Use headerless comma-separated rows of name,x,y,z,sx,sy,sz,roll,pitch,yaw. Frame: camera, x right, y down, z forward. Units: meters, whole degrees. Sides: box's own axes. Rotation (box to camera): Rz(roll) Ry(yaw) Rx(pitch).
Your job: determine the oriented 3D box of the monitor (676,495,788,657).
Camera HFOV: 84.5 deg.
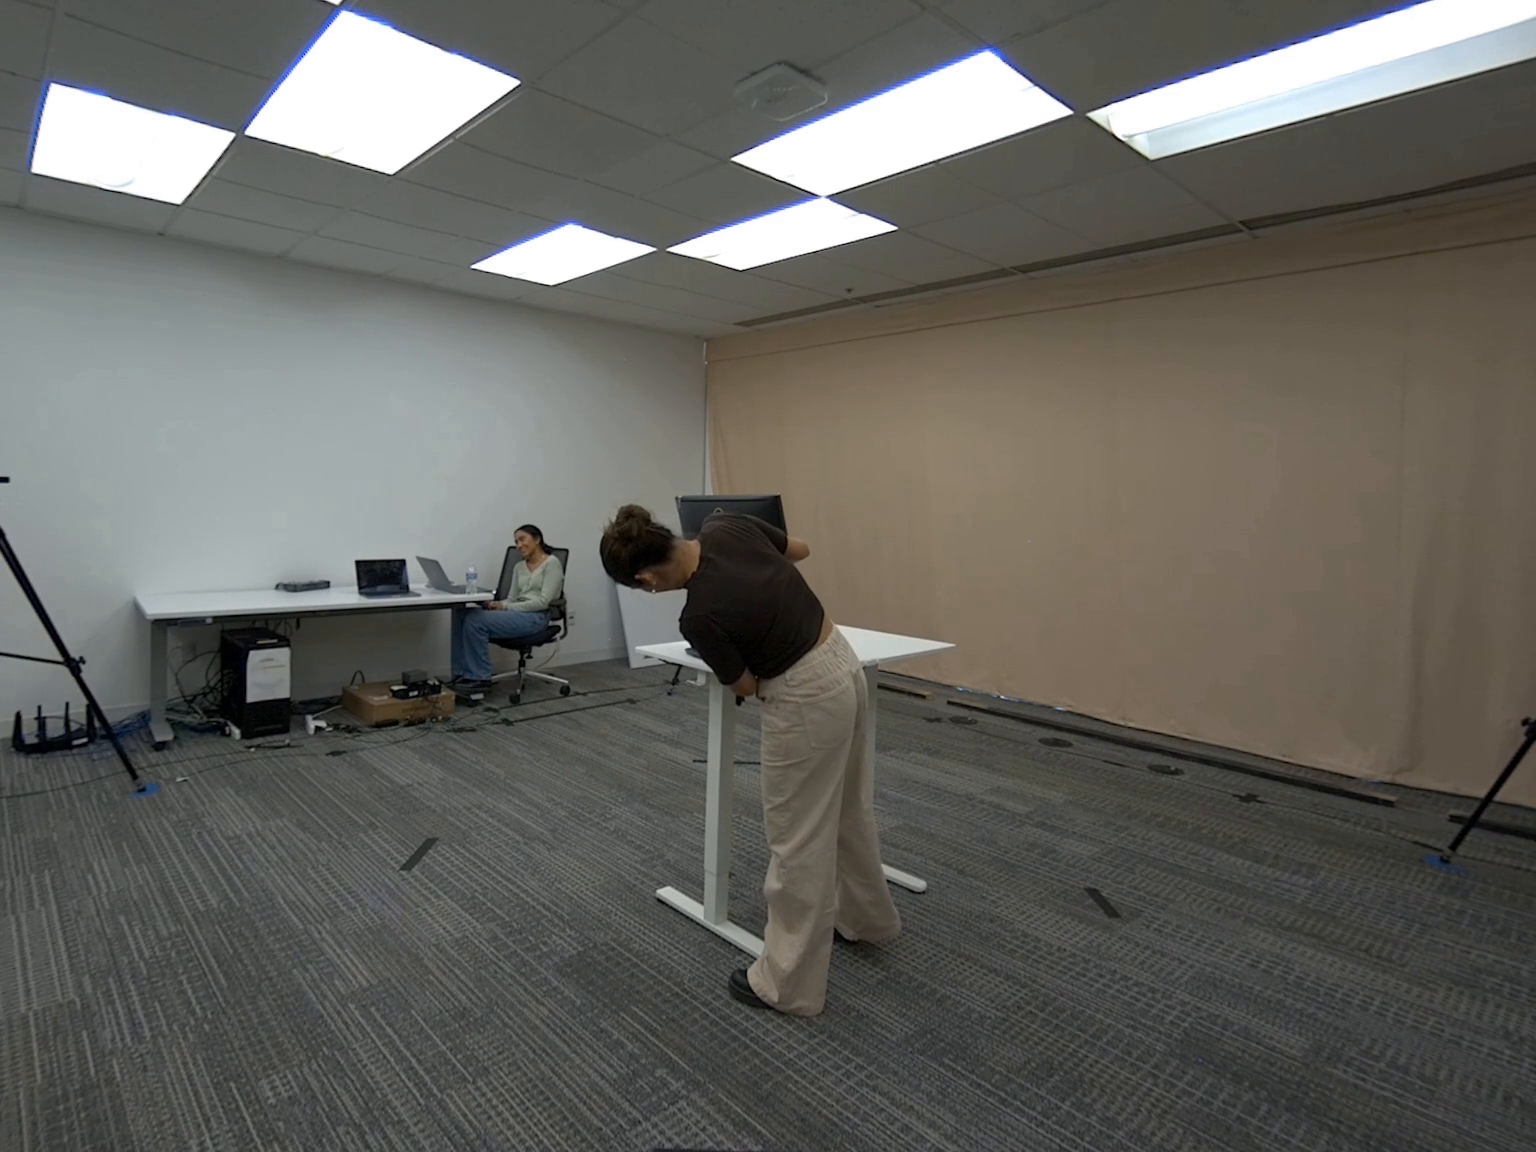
monitor,-0.129,0.009,2.639,0.183,0.521,0.552,-3,5,-40
